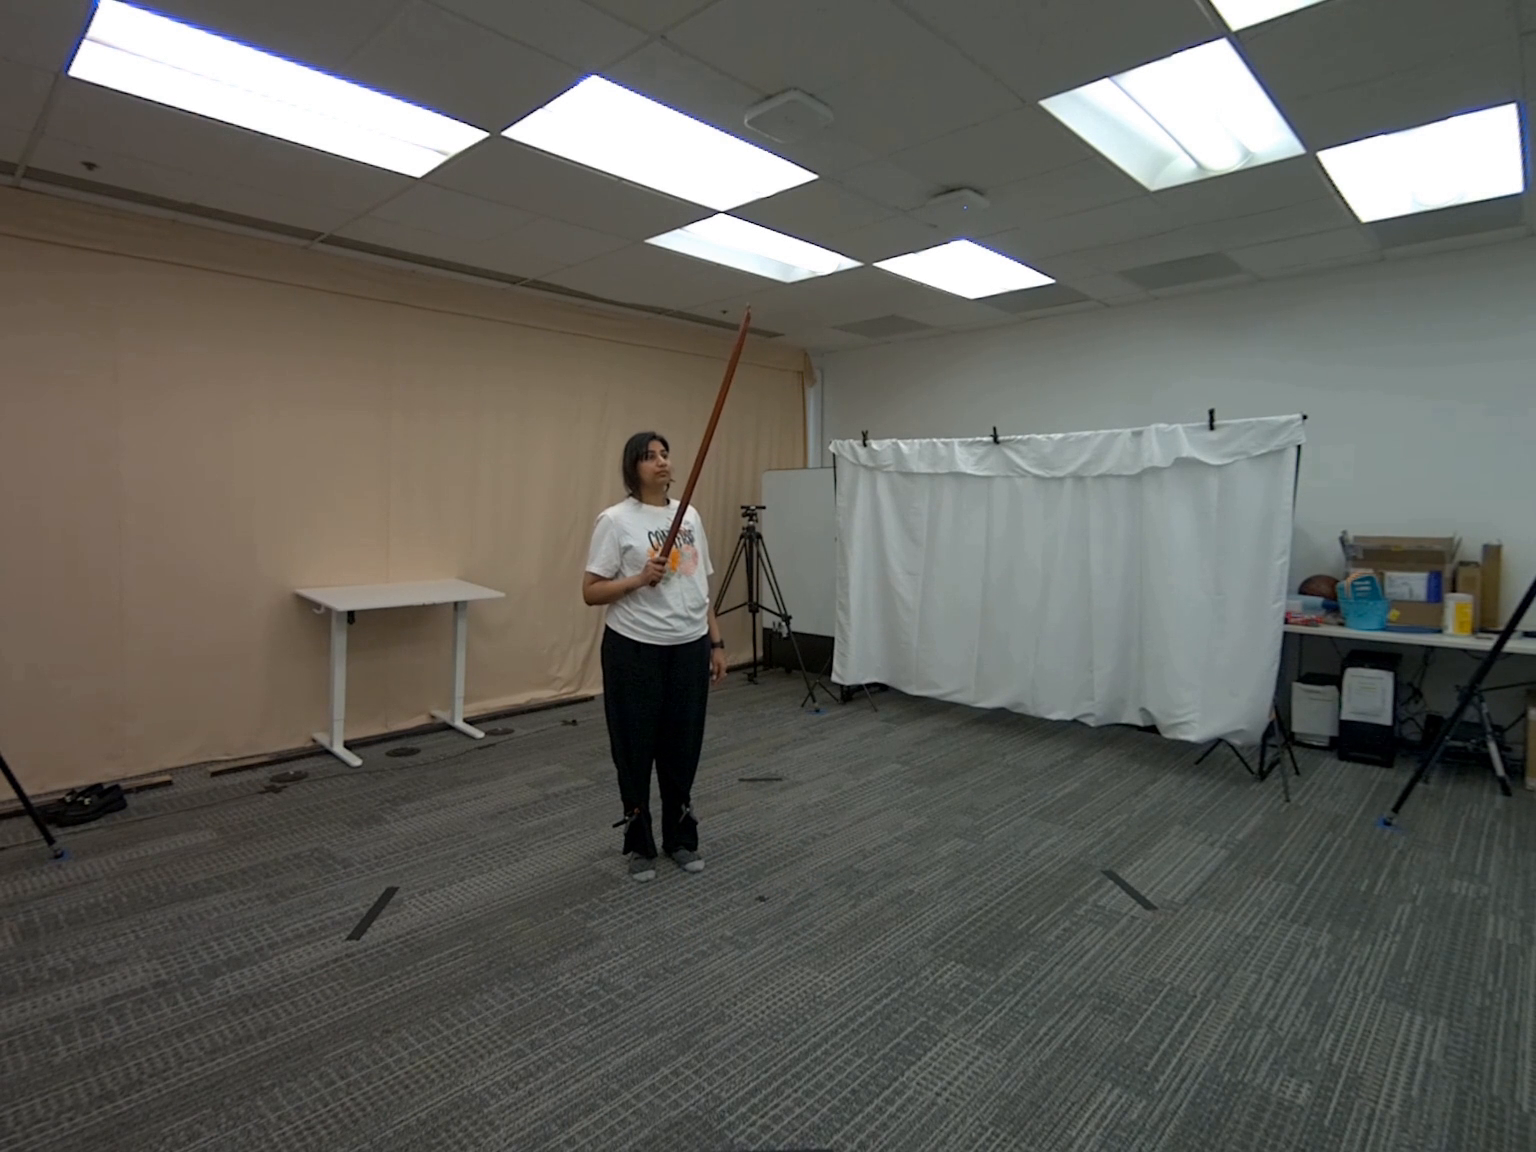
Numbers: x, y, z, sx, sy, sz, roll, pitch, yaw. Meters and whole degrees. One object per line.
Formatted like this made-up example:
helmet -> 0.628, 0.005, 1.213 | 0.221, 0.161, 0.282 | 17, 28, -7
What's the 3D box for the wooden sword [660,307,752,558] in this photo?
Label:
wooden sword -> -0.218, -0.432, 2.895 | 0.050, 1.022, 0.025 | 13, 13, -34
